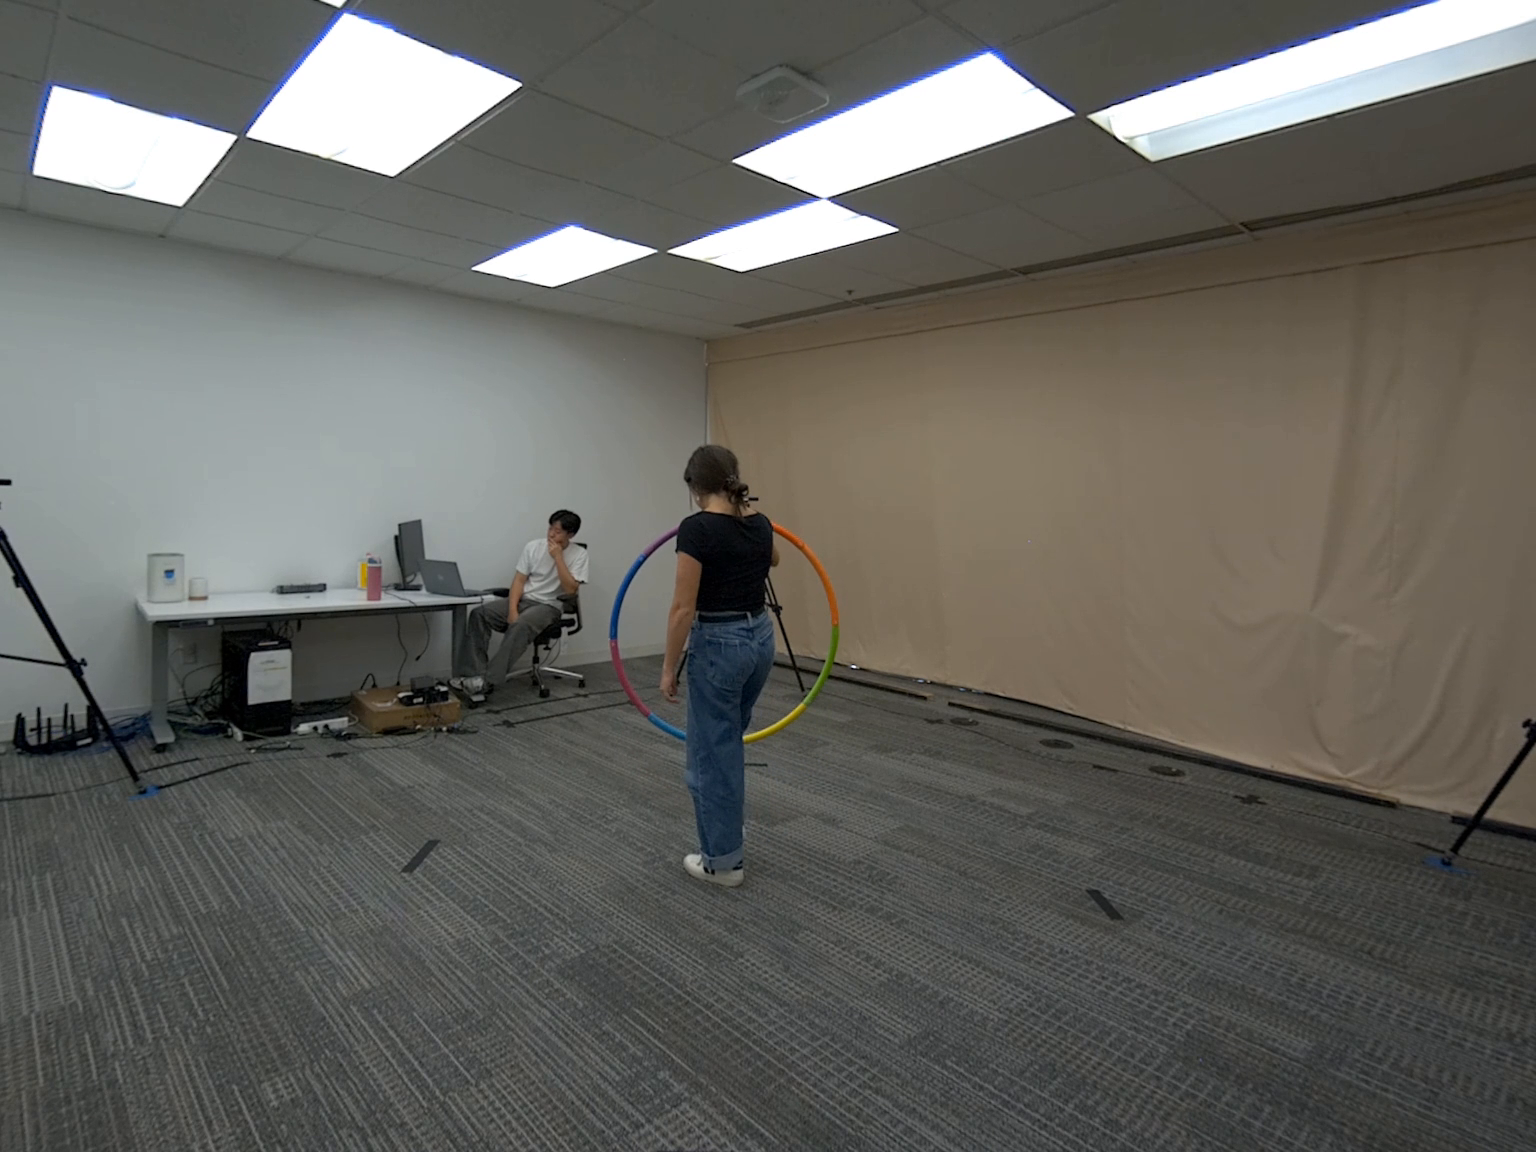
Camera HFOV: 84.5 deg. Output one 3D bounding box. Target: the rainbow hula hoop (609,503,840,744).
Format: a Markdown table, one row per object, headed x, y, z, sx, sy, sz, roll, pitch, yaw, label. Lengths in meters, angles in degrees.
| x | y | z | sx | sy | sz | roll | pitch | yaw | label |
| --- | --- | --- | --- | --- | --- | --- | --- | --- | --- |
| -0.183 | 0.230 | 3.551 | 0.972 | 0.976 | 0.036 | 1 | 4 | -8 | rainbow hula hoop |
